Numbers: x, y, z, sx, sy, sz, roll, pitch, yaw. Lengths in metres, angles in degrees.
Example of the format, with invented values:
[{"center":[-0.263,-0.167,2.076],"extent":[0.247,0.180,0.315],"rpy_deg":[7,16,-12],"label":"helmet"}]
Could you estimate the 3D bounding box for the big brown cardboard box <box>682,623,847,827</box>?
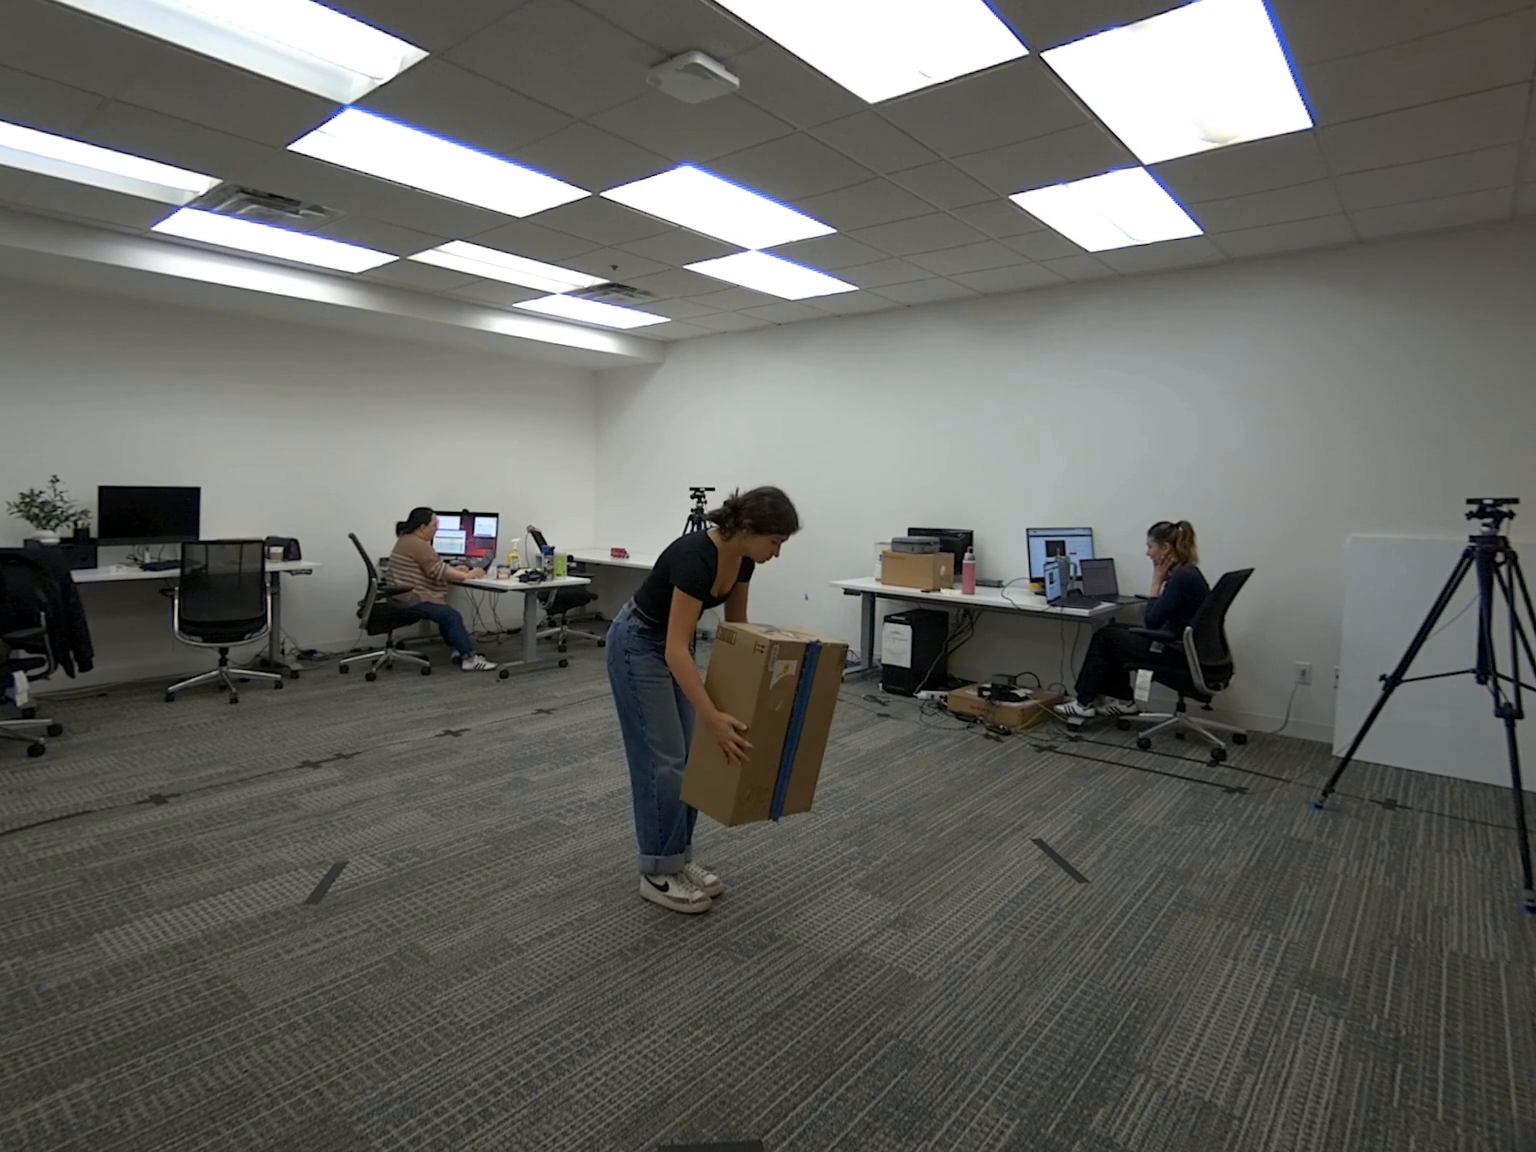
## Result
[{"center":[-0.003,0.449,2.682],"extent":[0.242,0.587,0.403],"rpy_deg":[16,5,41],"label":"big brown cardboard box"}]
